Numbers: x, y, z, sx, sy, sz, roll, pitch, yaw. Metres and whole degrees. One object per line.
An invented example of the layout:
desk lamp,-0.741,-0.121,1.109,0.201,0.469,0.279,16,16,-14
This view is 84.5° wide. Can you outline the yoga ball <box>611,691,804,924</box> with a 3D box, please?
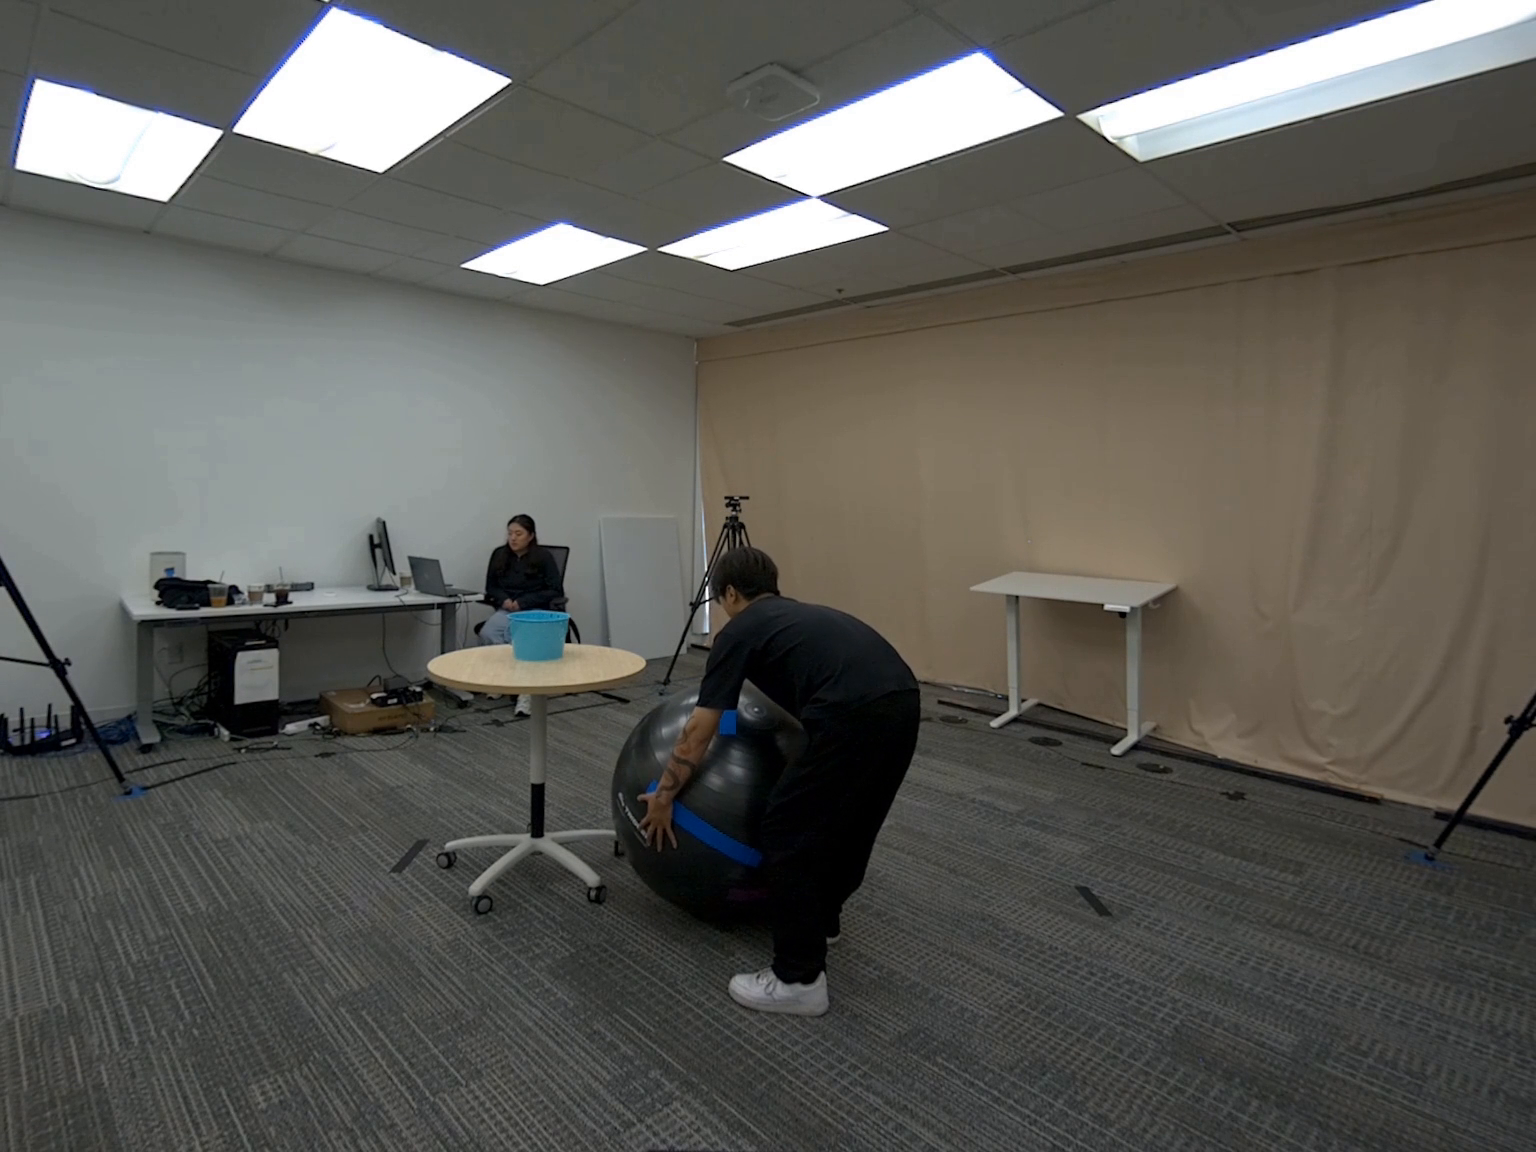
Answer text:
yoga ball,-0.152,0.752,2.848,0.757,0.756,0.761,1,4,-1
